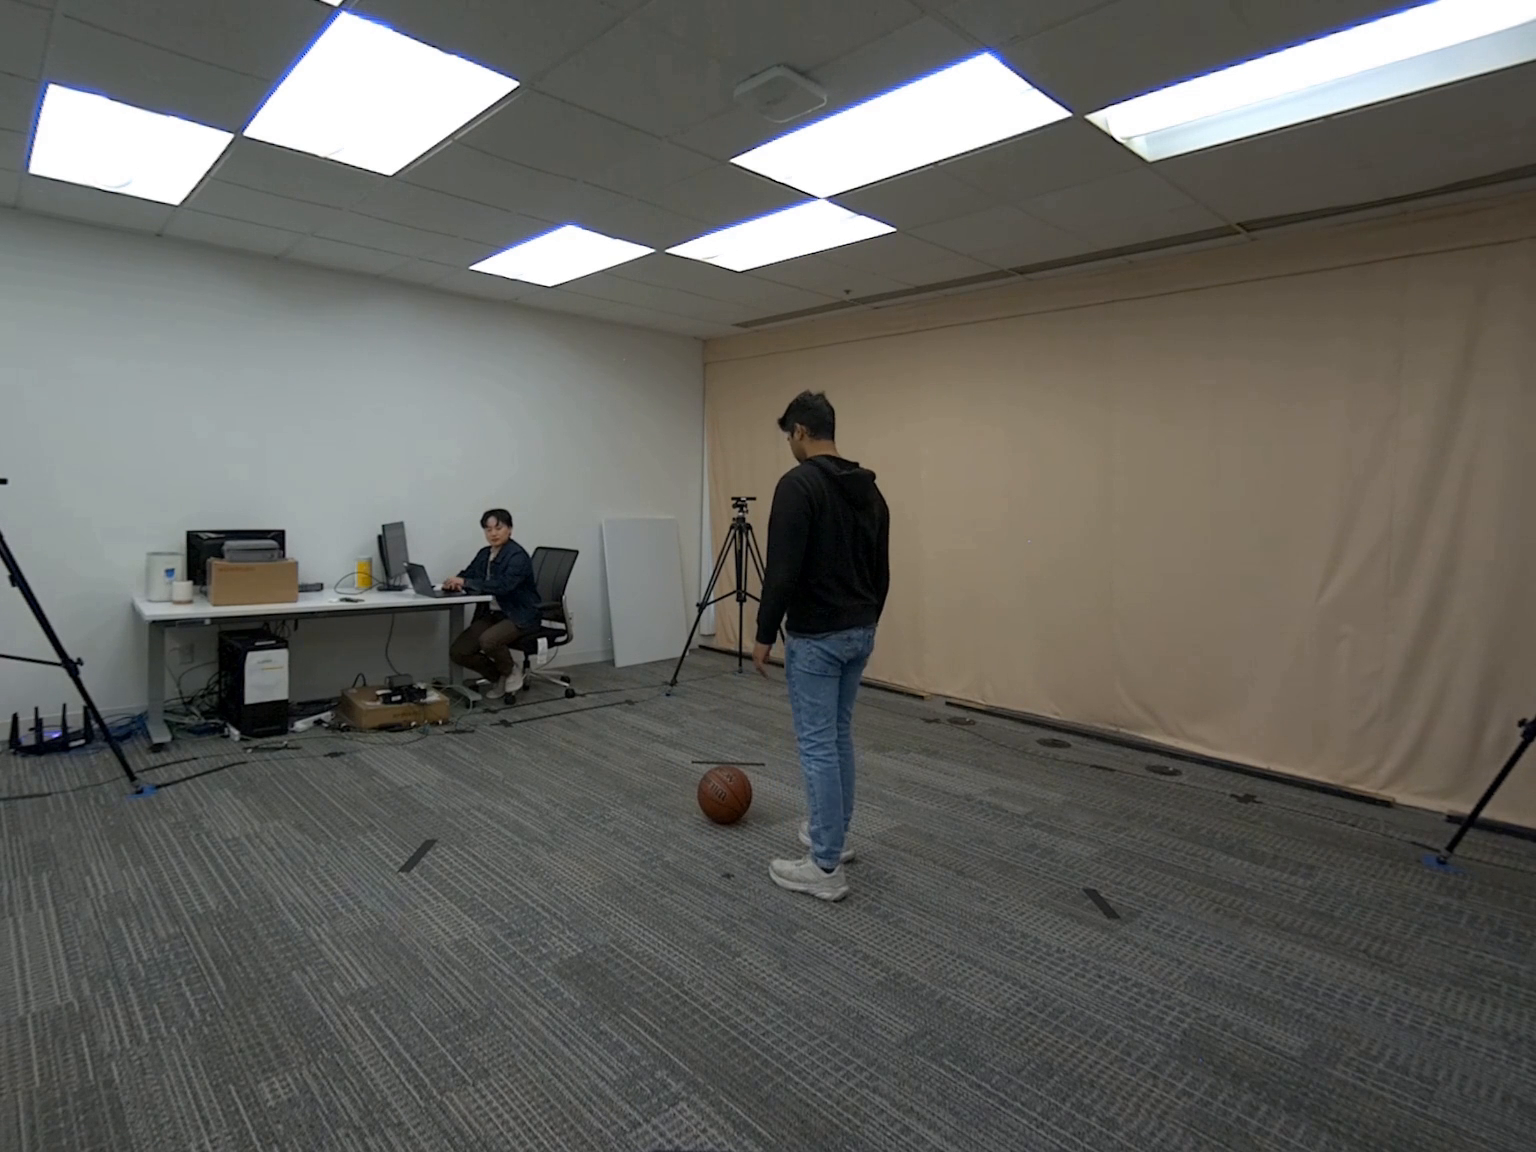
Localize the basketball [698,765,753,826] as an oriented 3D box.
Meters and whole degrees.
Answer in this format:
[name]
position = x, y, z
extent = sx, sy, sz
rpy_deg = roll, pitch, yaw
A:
[basketball]
position = -0.196, 0.941, 3.636
extent = 0.236, 0.235, 0.237
rpy_deg = 1, 4, -1
